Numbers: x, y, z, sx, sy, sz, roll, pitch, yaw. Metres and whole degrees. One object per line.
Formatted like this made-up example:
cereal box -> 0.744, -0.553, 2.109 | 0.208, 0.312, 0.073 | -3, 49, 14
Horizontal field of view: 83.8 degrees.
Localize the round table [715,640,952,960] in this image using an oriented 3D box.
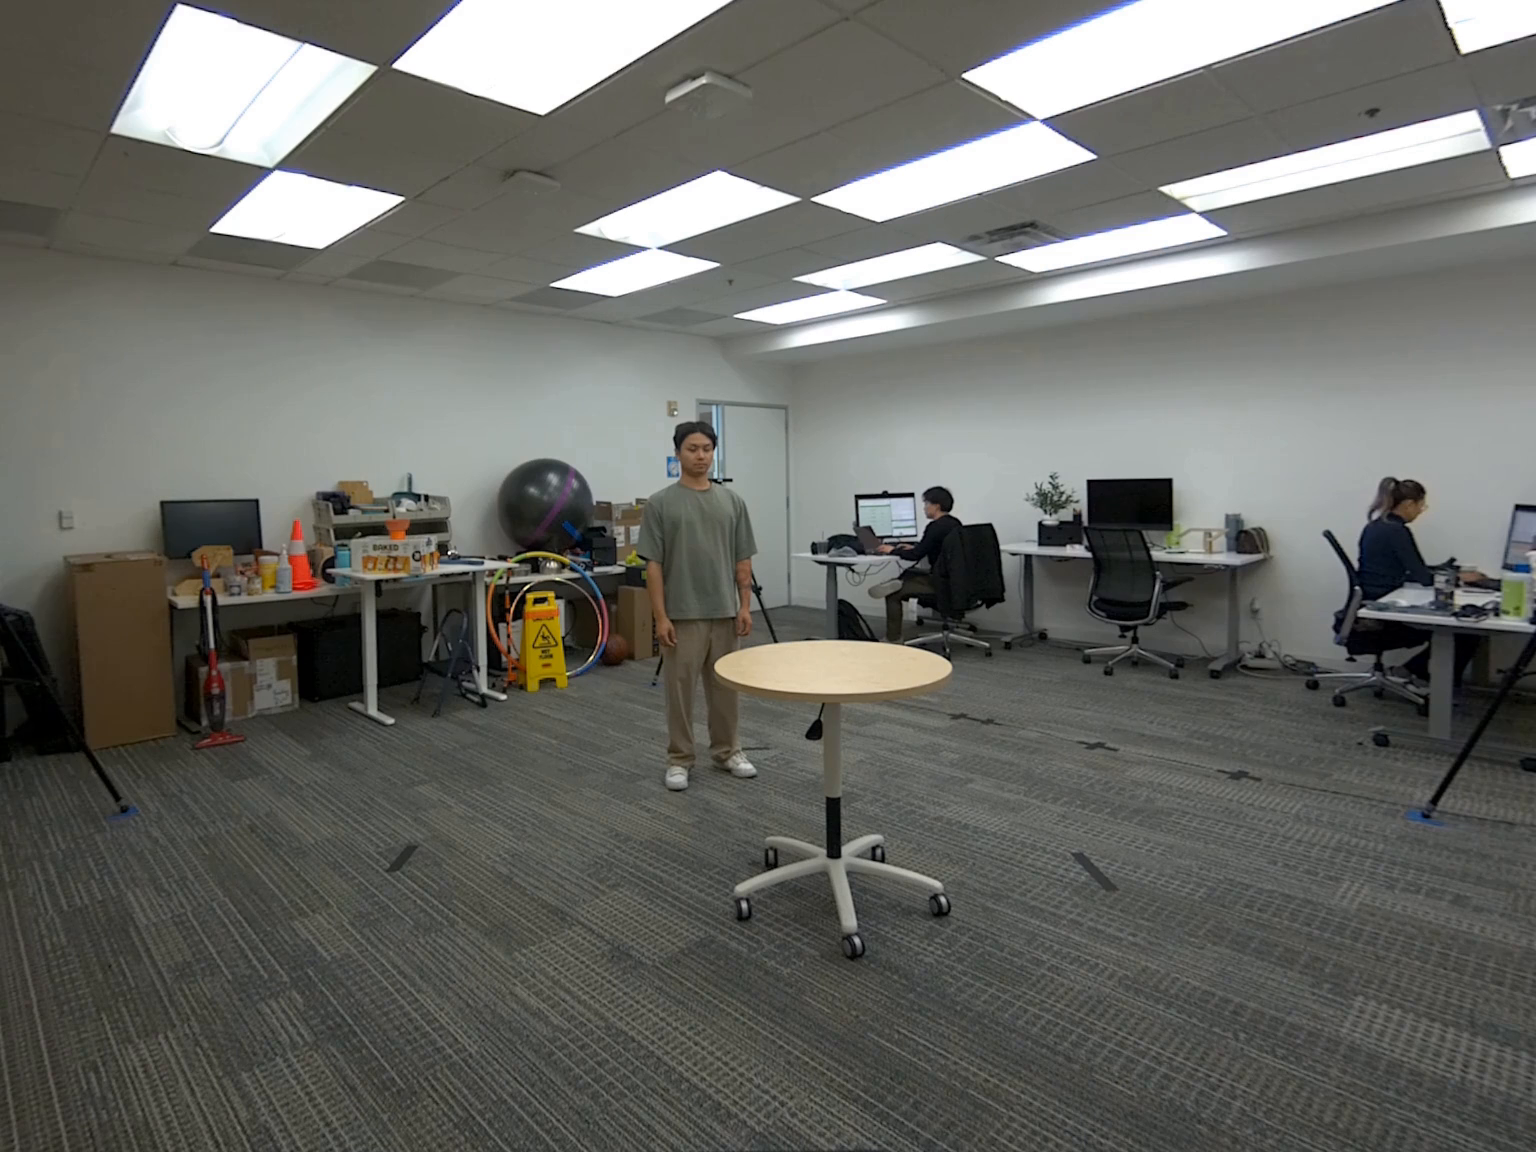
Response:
round table -> 0.232, 0.676, 2.827 | 0.784, 0.783, 0.789 | -1, 5, -2
